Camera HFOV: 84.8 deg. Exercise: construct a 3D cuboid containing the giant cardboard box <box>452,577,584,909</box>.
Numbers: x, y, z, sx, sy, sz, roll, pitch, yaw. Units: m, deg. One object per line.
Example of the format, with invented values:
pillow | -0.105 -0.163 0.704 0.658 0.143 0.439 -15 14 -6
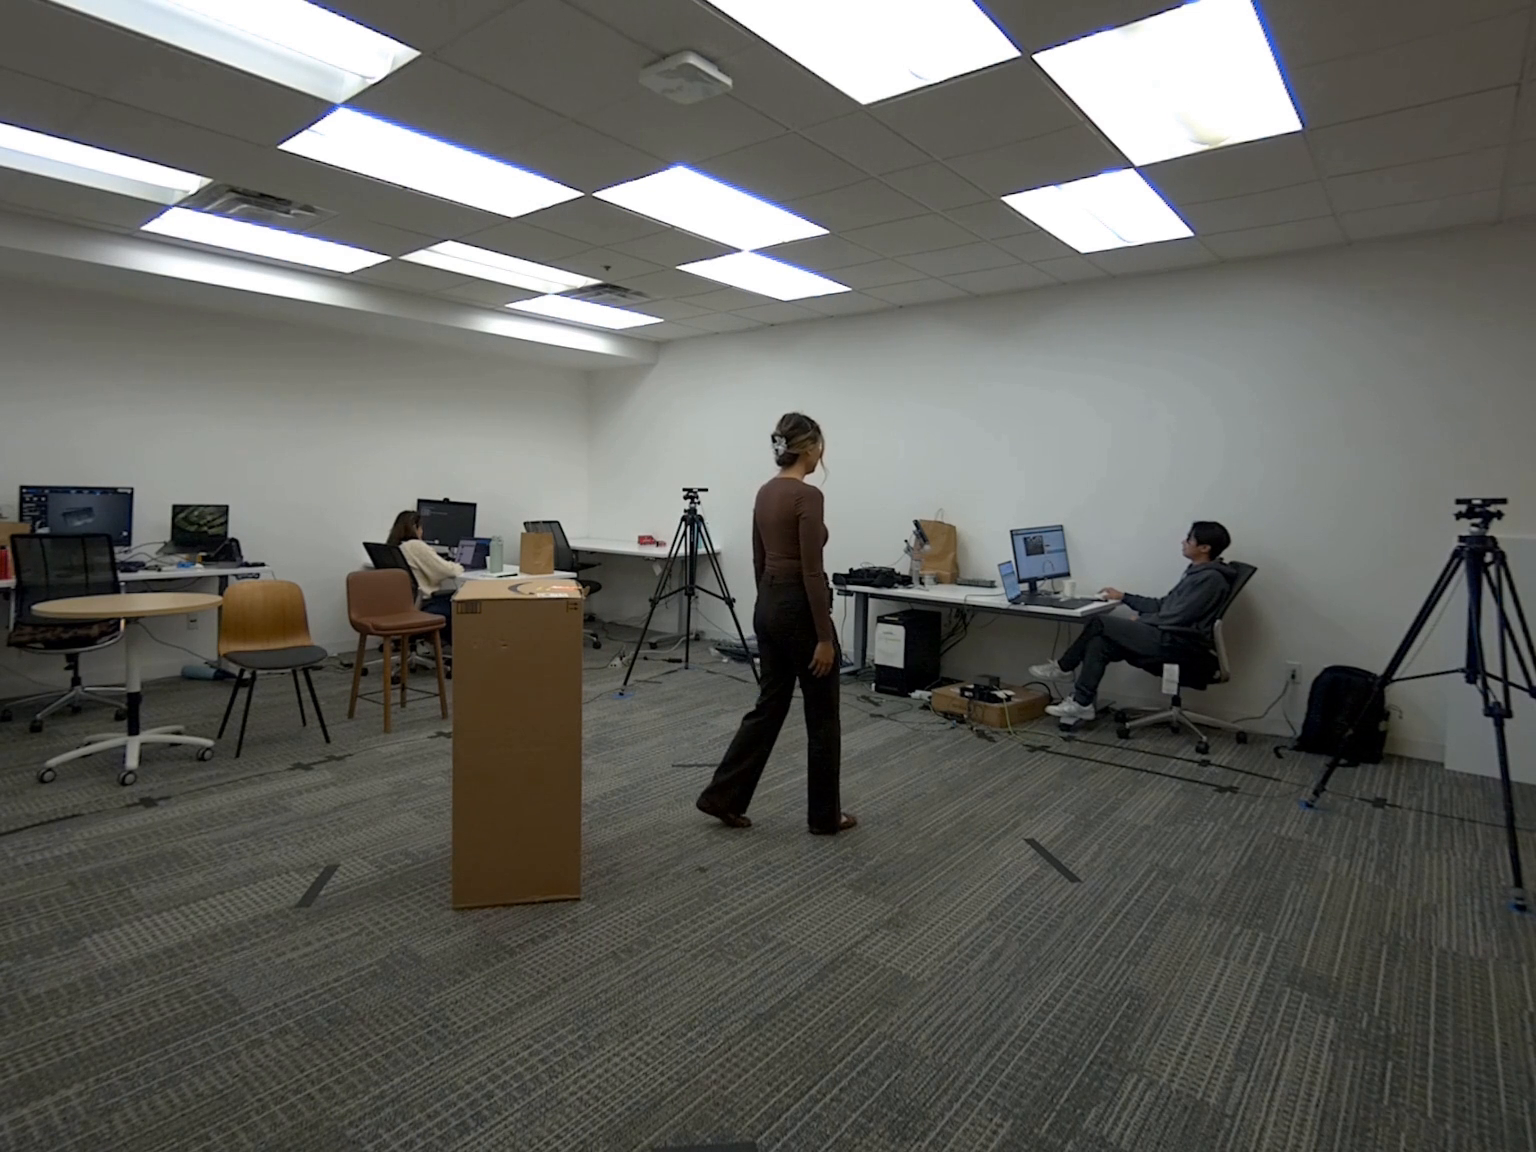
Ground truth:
giant cardboard box | -0.914 0.547 3.075 0.440 1.024 0.594 0 3 -14
